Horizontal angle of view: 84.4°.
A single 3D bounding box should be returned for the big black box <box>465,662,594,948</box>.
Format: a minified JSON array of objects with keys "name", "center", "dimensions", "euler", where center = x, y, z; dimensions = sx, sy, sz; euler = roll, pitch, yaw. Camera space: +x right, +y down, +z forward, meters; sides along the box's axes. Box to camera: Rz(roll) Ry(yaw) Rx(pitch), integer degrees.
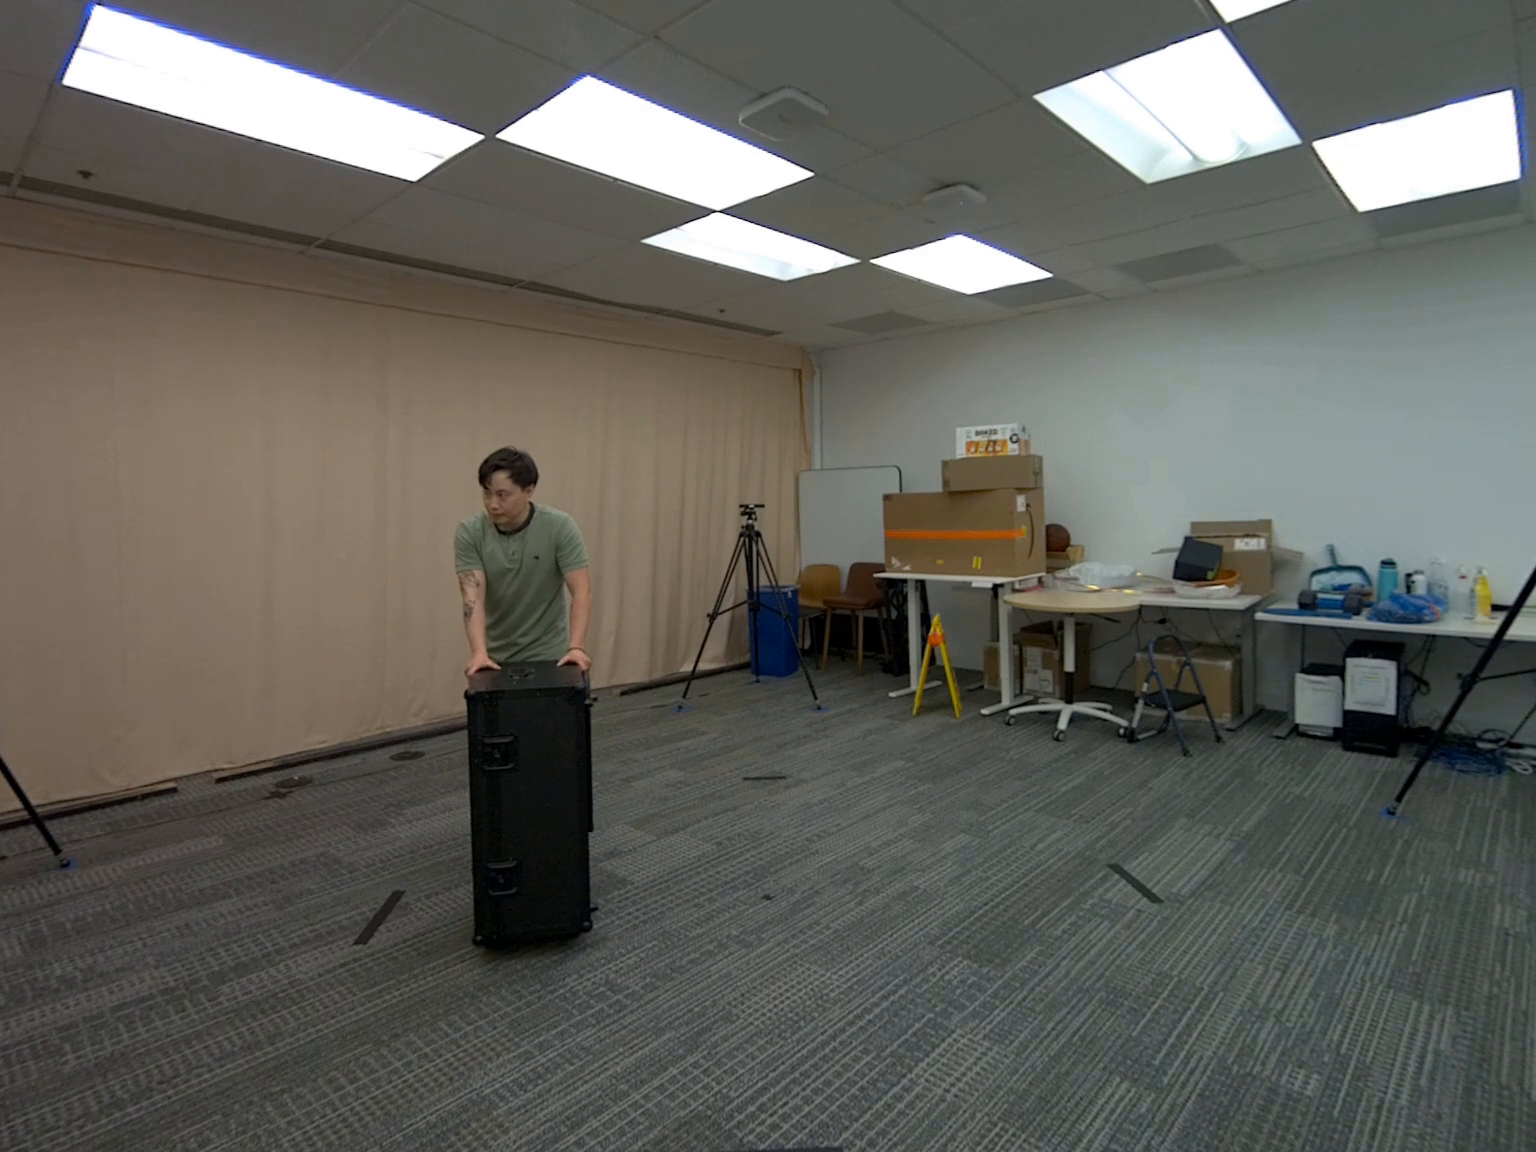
[{"name":"big black box","center":[-0.782,0.747,2.816],"dimensions":[0.391,0.860,0.530],"euler":[-1,3,-14]}]
